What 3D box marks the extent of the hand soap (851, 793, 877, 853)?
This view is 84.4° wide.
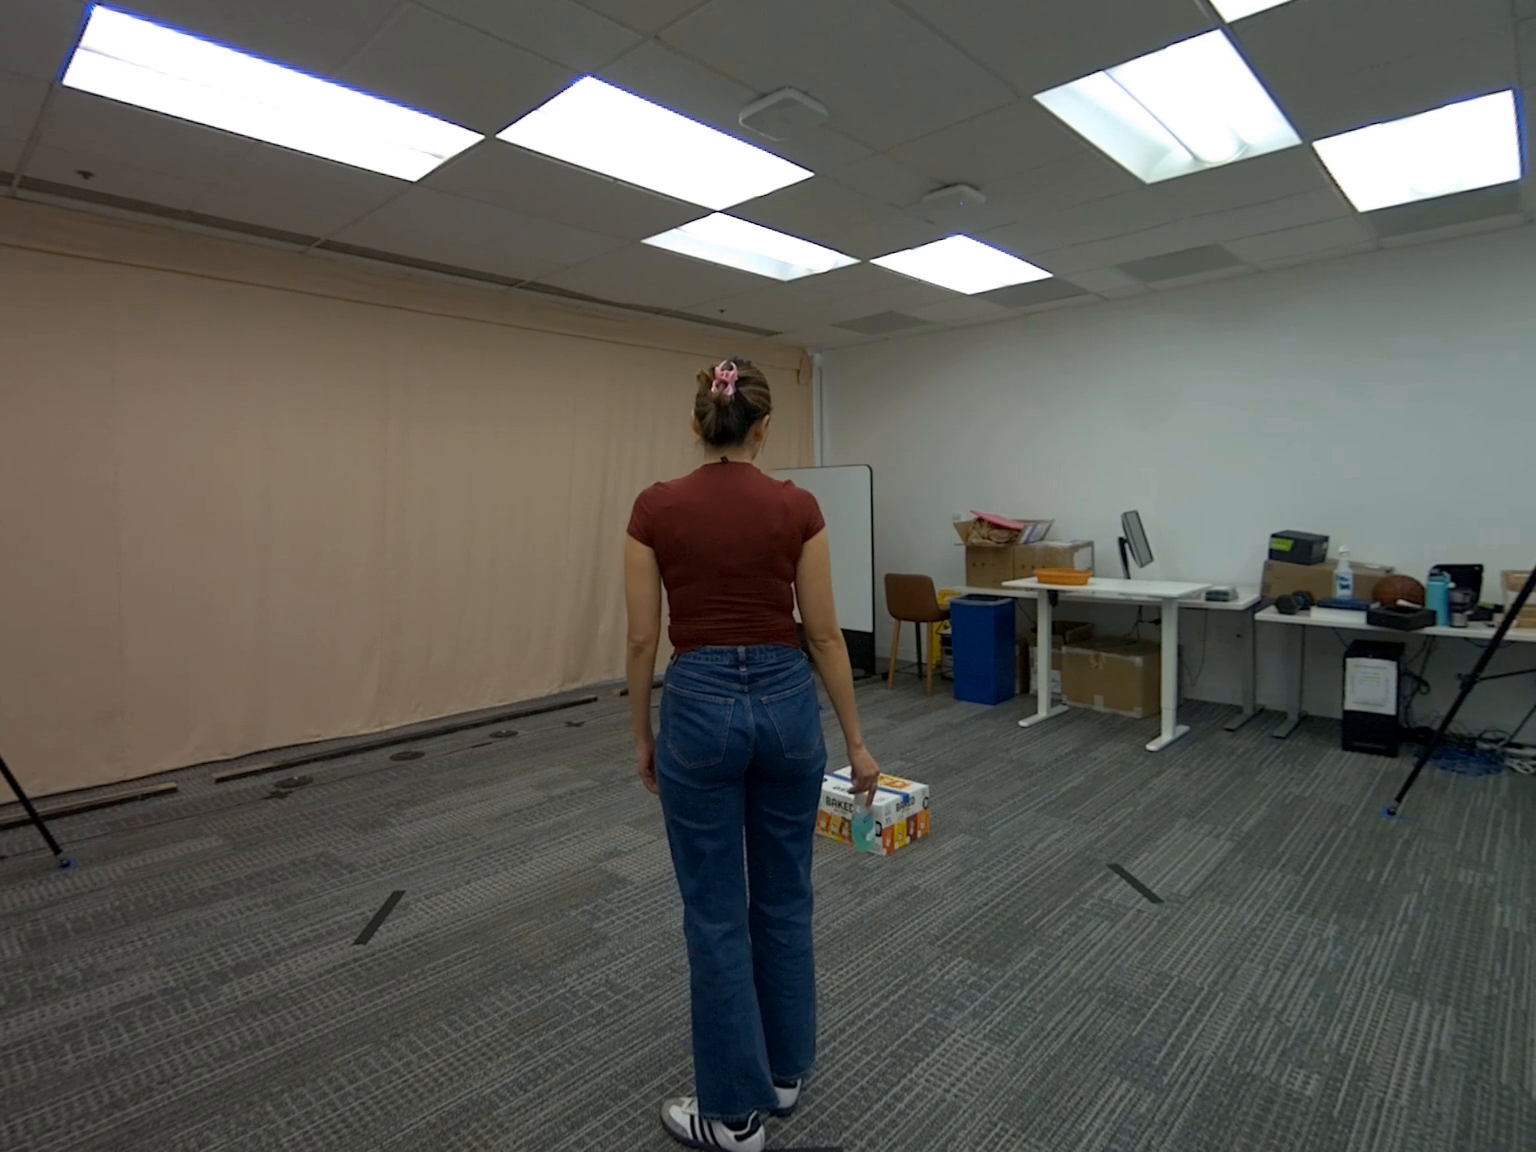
[{"bbox_3d":[0.226,0.563,1.969,0.045,0.167,0.082,3,11,36],"label":"hand soap"}]
